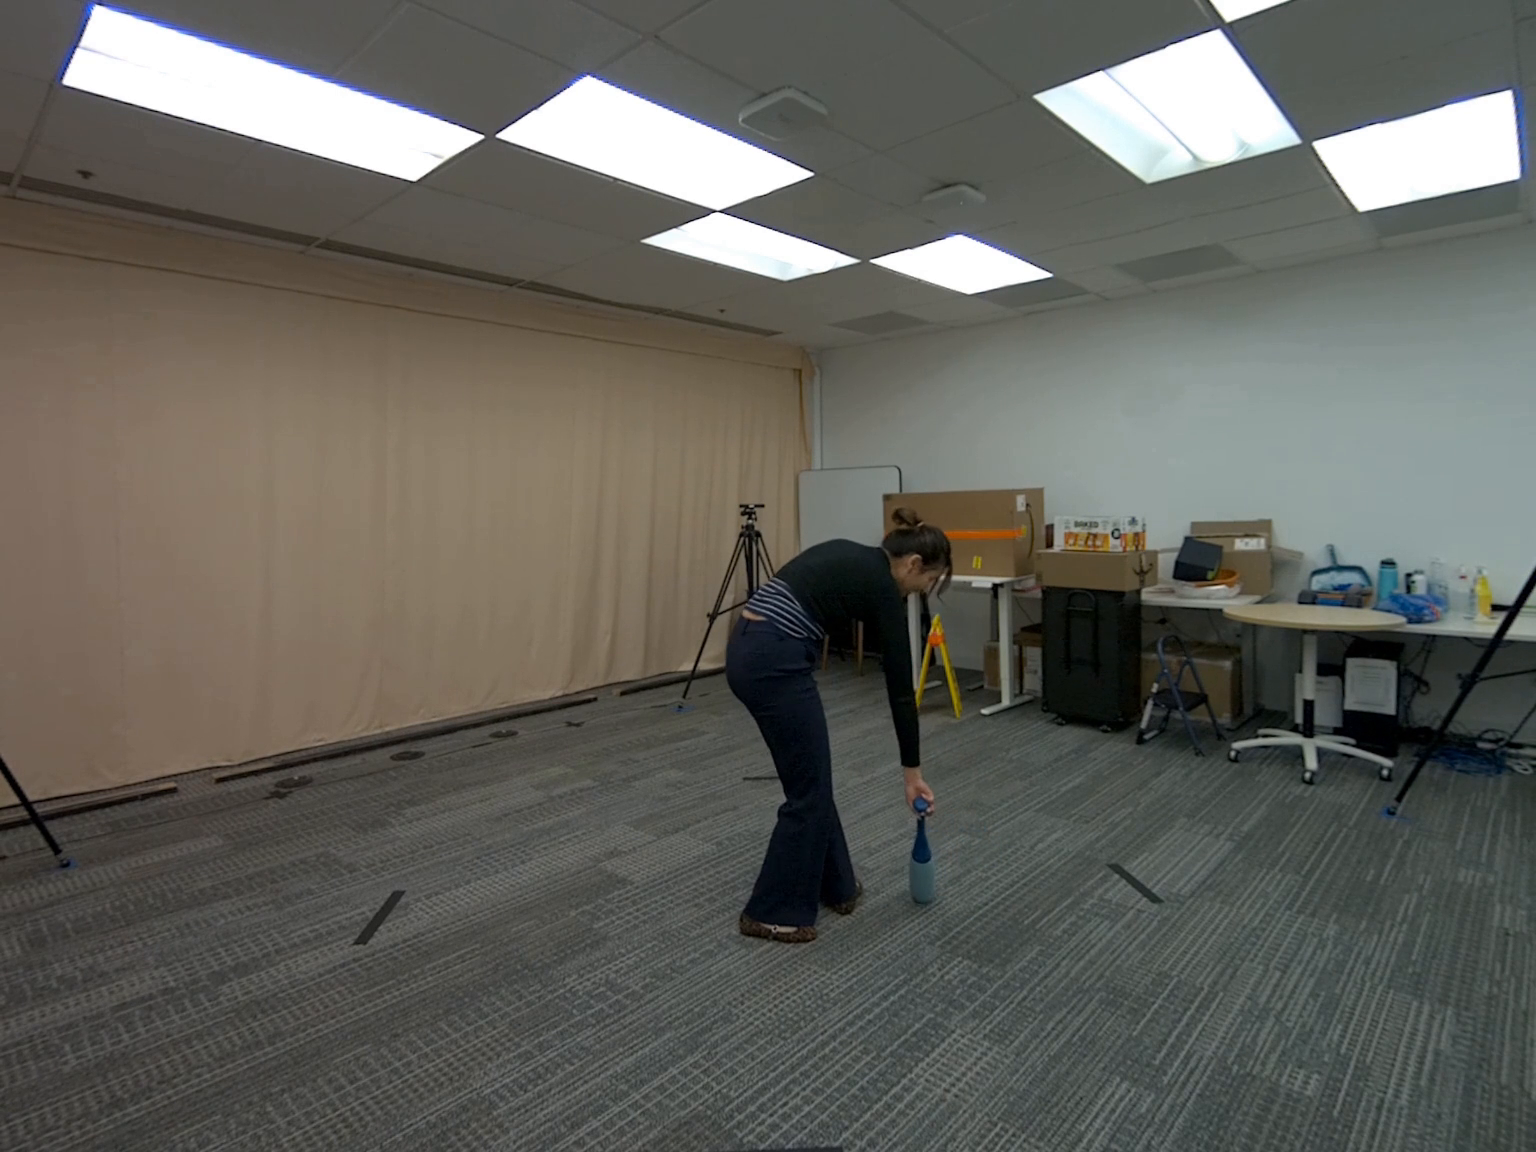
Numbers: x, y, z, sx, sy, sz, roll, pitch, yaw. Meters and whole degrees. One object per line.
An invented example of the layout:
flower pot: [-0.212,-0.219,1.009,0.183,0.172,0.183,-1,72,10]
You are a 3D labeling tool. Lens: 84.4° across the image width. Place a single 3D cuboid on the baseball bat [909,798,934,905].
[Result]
baseball bat: [0.512,0.919,2.771,0.089,0.530,0.091,-7,40,4]
